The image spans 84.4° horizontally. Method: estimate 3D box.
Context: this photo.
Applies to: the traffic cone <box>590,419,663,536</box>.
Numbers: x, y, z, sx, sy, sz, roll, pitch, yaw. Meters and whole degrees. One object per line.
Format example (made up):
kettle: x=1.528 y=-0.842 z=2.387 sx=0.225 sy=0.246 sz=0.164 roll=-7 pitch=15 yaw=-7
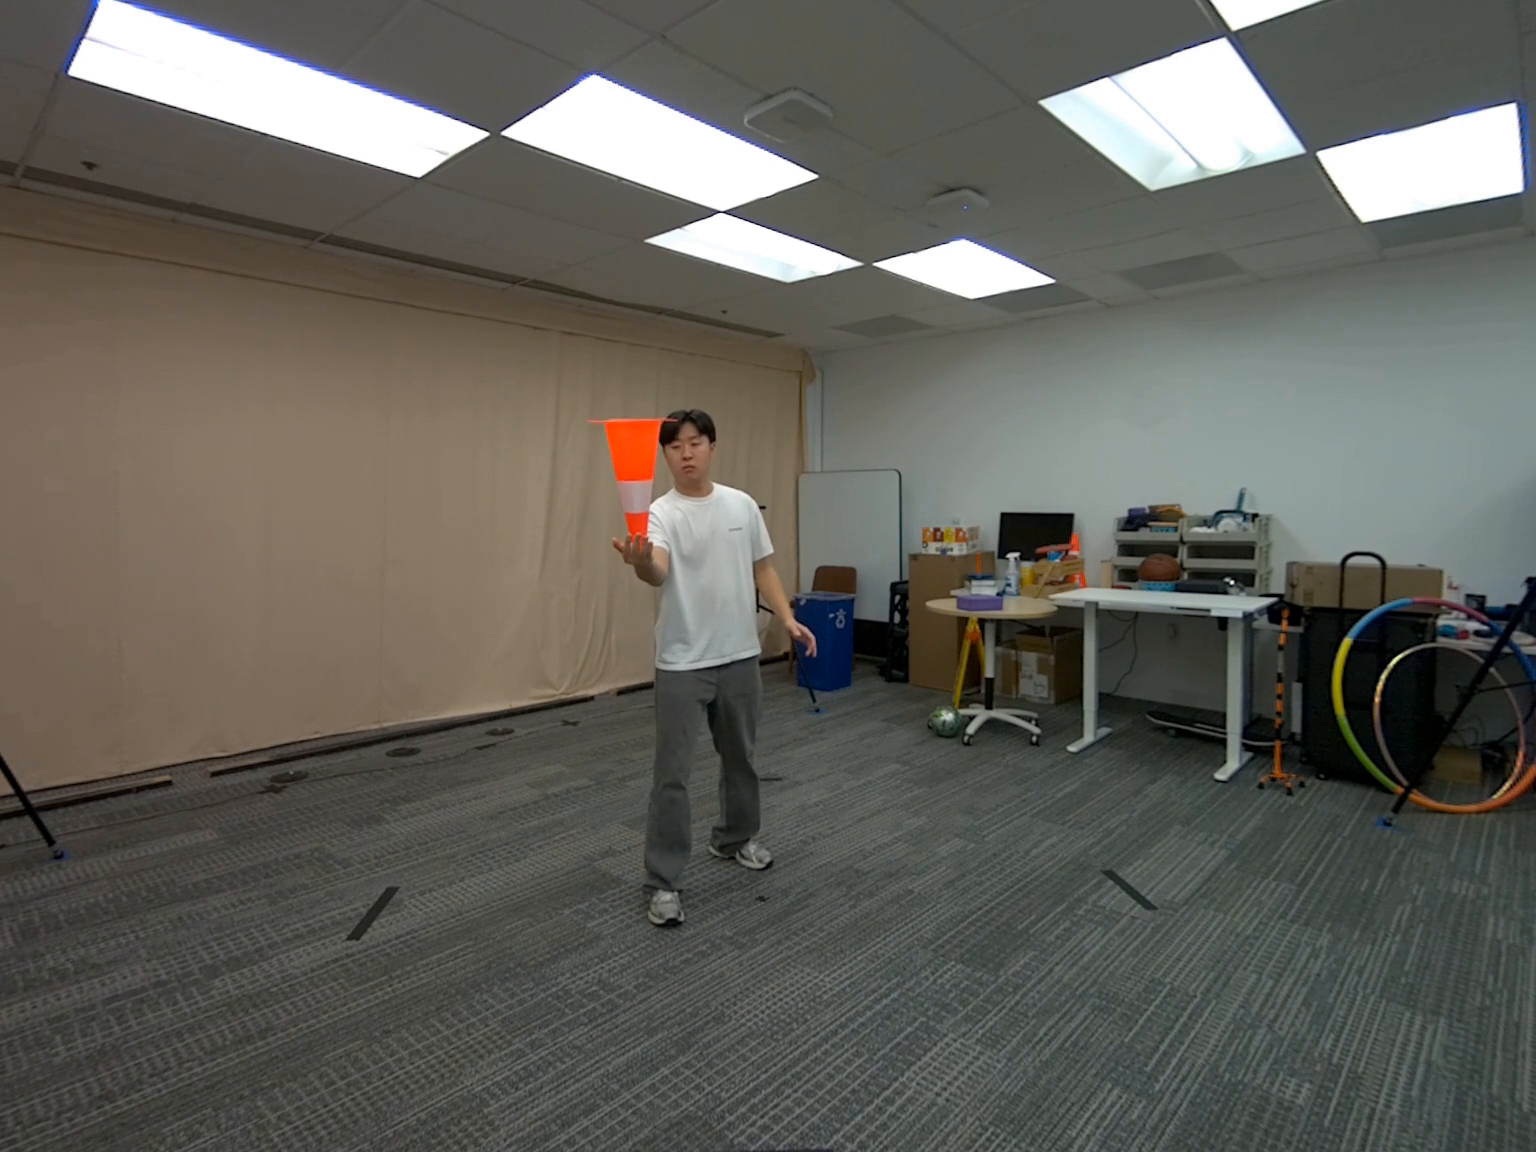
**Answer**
traffic cone: x=-0.374 y=-0.242 z=2.368 sx=0.208 sy=0.382 sz=0.201 roll=1 pitch=6 yaw=19
